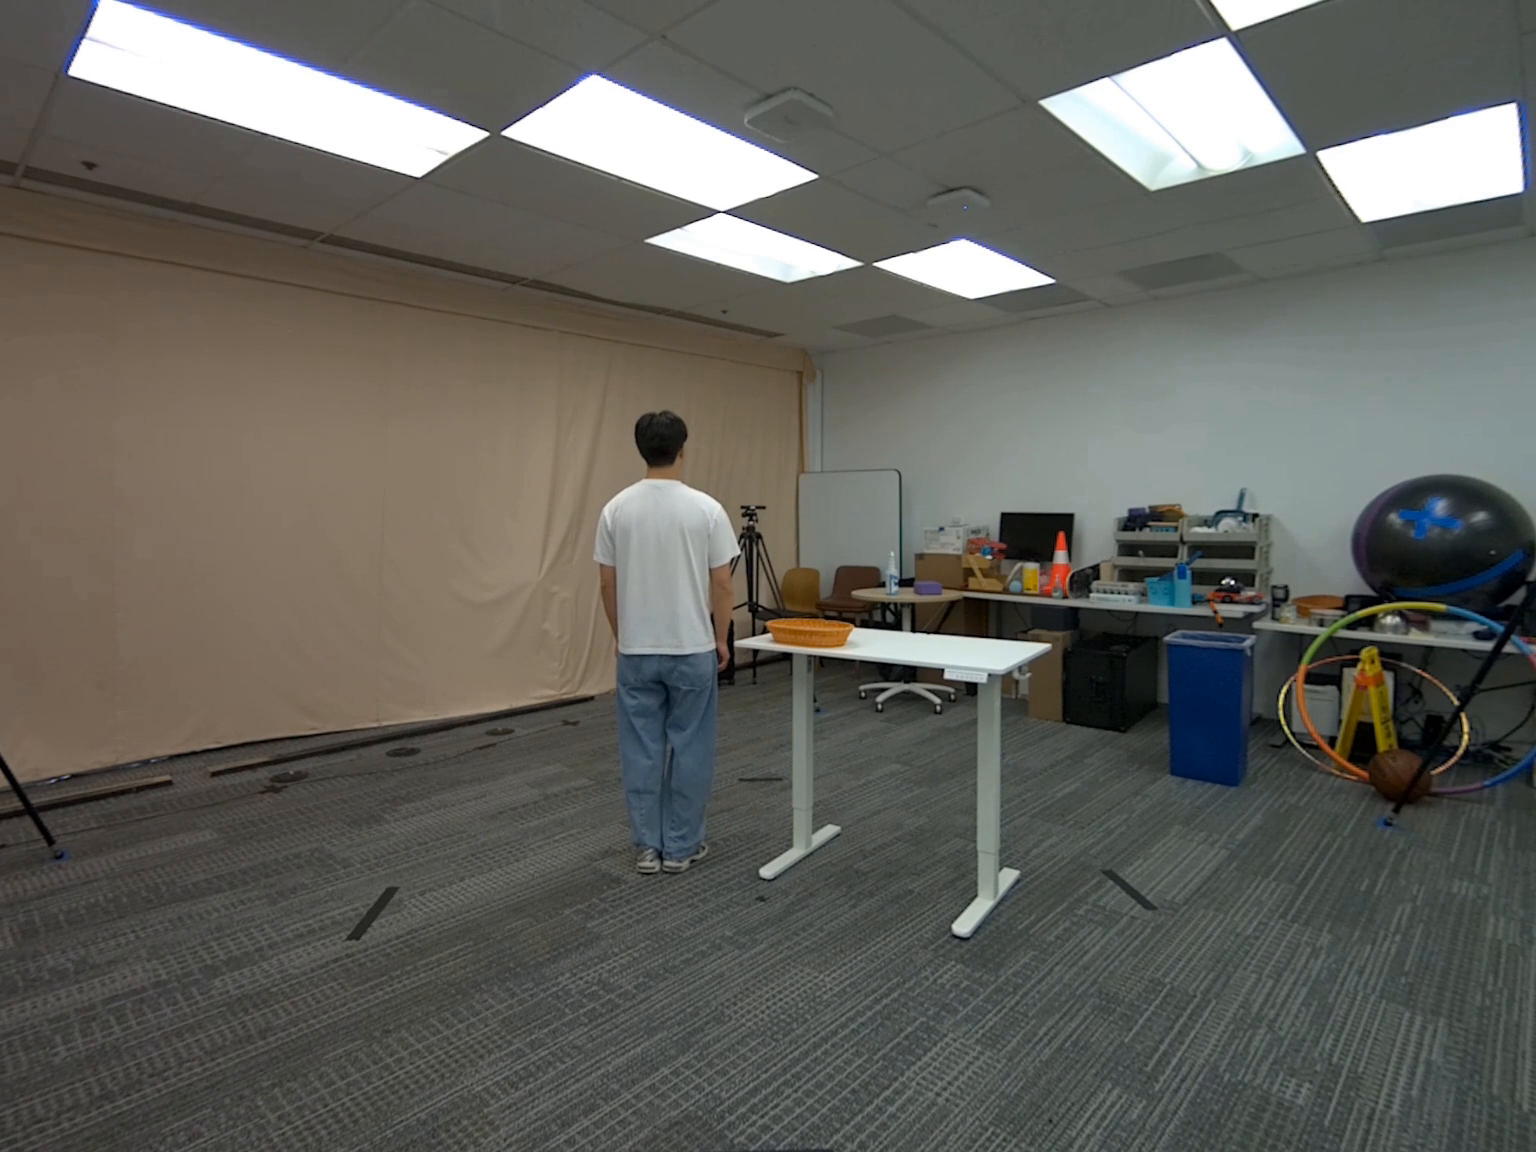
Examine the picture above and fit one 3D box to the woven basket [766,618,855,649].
[{"bbox_3d":[0.163,0.221,3.129,0.362,0.073,0.245,2,5,41],"label":"woven basket"}]
